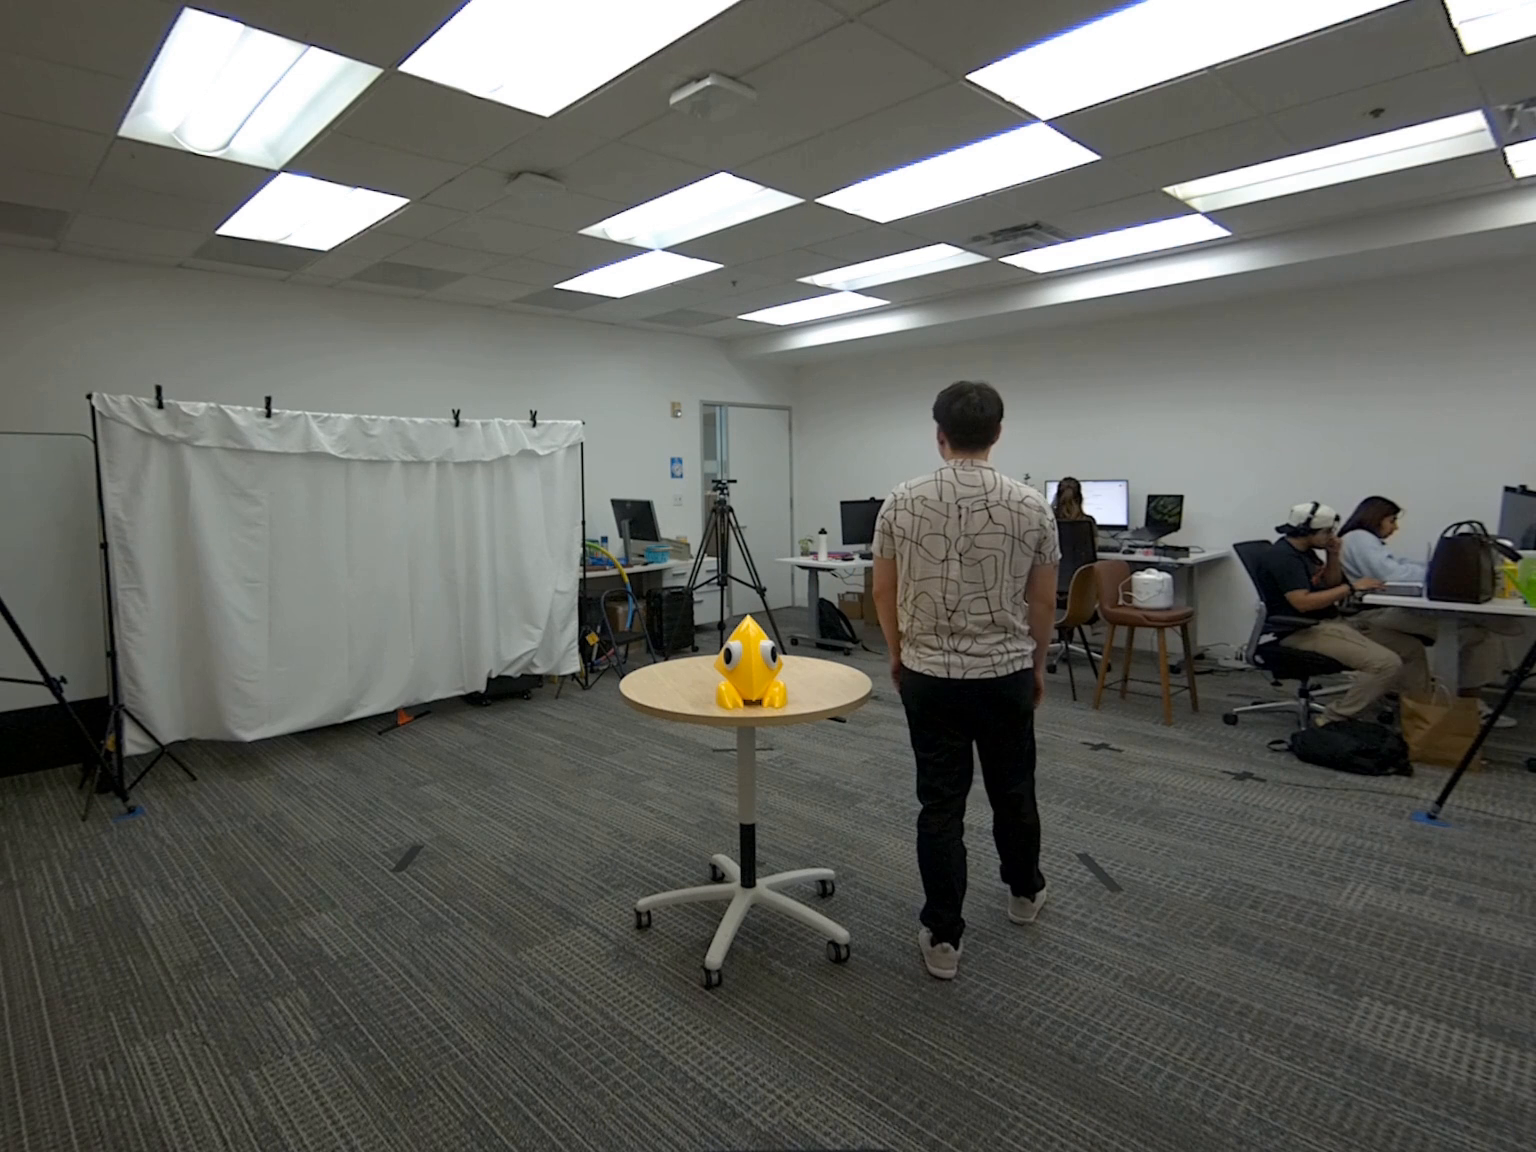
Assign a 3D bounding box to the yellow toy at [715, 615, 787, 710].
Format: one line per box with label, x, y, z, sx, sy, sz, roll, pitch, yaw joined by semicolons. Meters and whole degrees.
yellow toy;-0.040;0.232;2.379;0.204;0.230;0.194;-2;4;-4
